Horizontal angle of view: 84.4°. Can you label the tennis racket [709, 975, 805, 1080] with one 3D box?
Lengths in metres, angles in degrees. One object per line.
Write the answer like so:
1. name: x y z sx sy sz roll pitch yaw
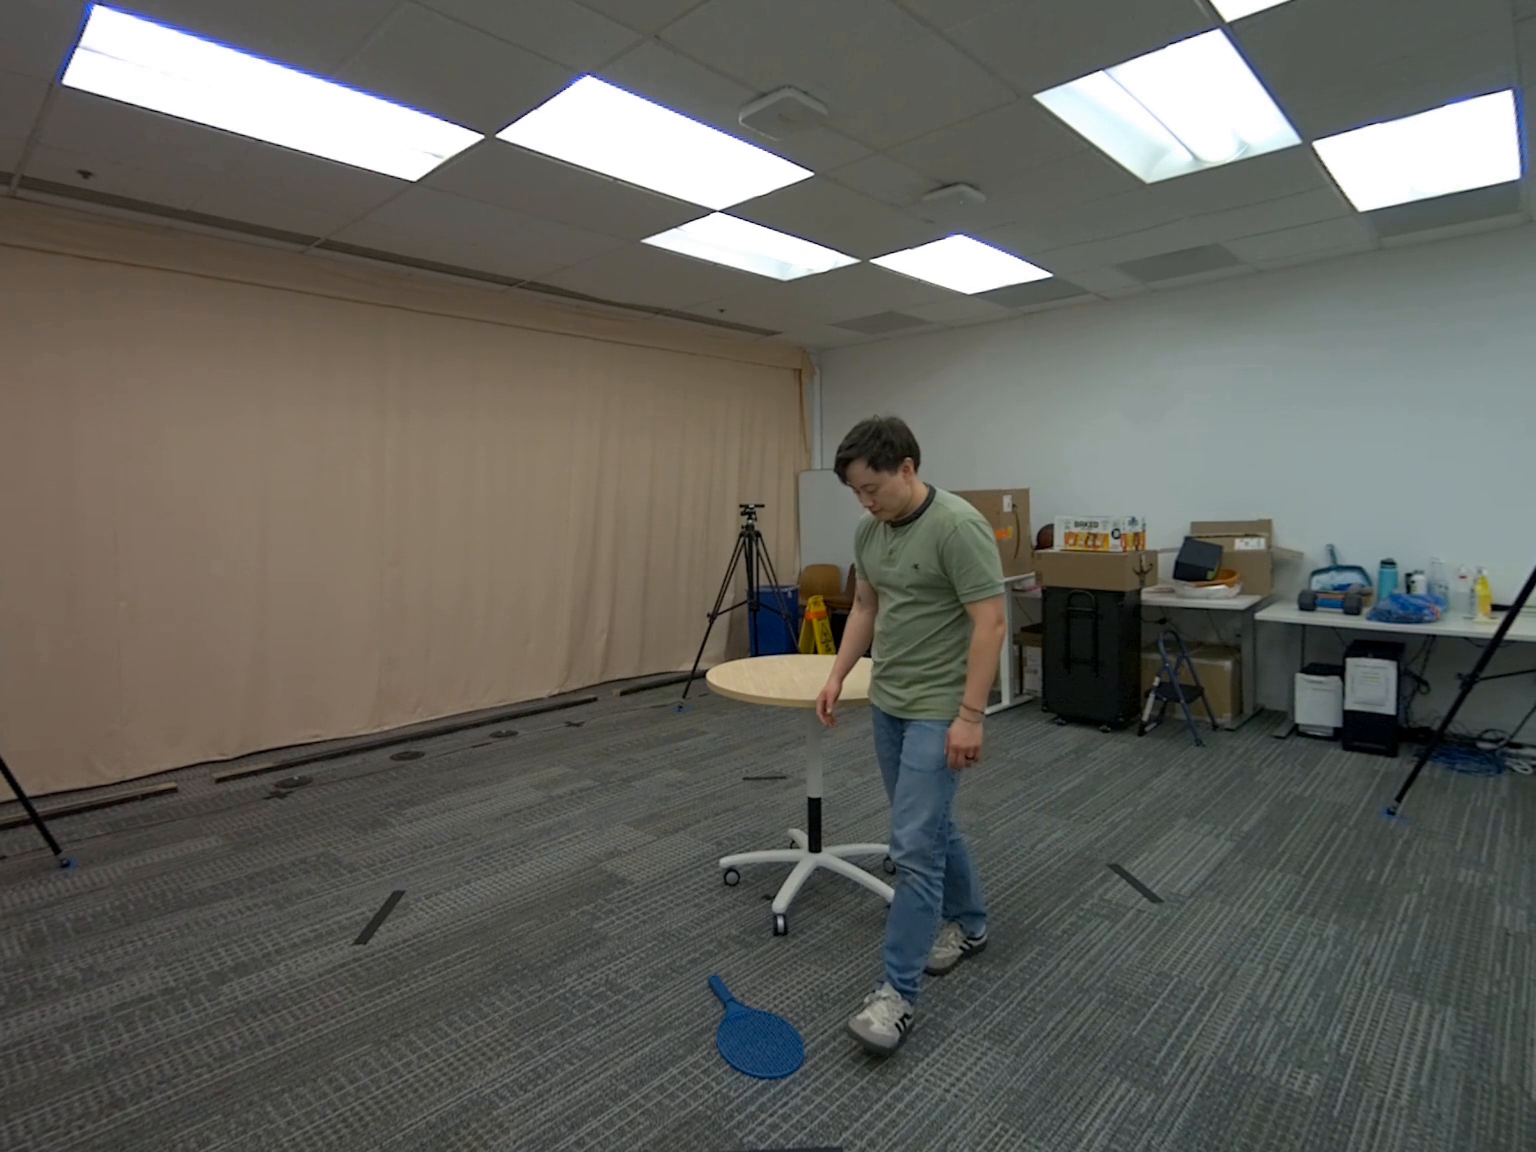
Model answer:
1. tennis racket: -0.055 1.190 2.245 0.208 0.031 0.445 -4 7 -27
